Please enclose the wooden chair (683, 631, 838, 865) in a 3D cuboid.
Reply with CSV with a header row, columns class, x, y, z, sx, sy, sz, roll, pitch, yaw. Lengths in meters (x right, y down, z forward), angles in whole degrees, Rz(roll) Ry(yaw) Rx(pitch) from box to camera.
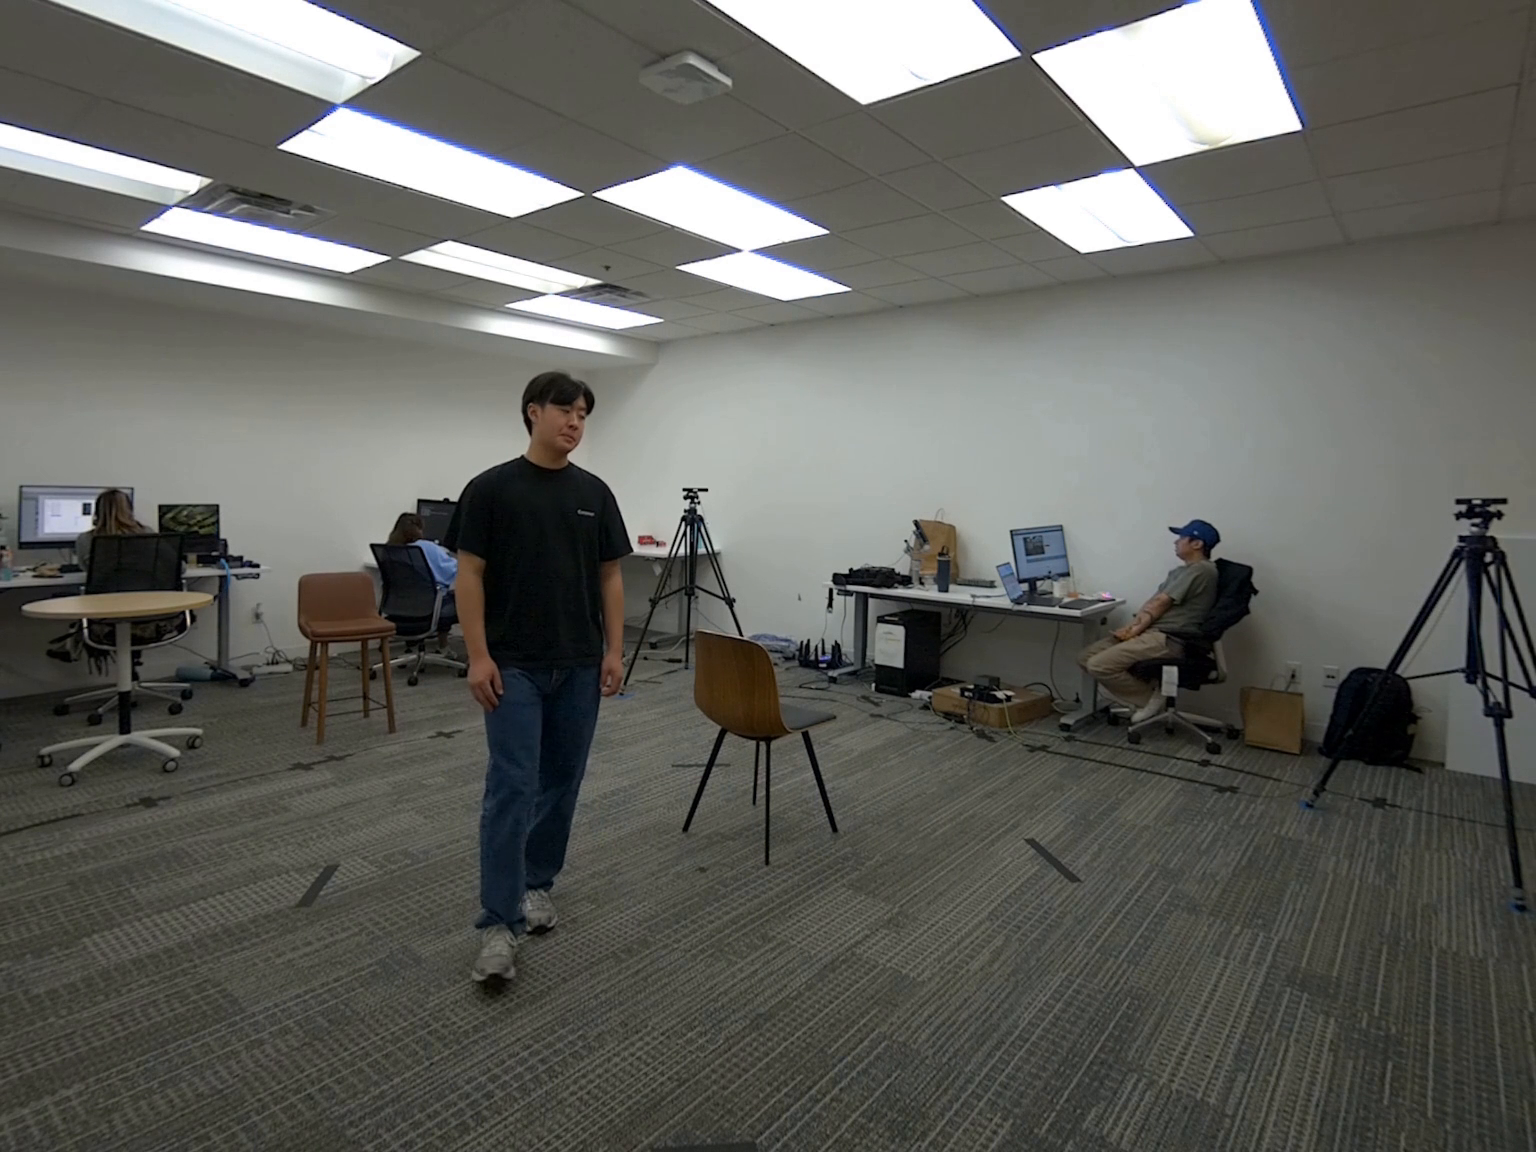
class,x,y,z,sx,sy,sz,roll,pitch,yaw
wooden chair,-0.028,0.612,3.442,0.494,0.872,0.509,4,8,41
